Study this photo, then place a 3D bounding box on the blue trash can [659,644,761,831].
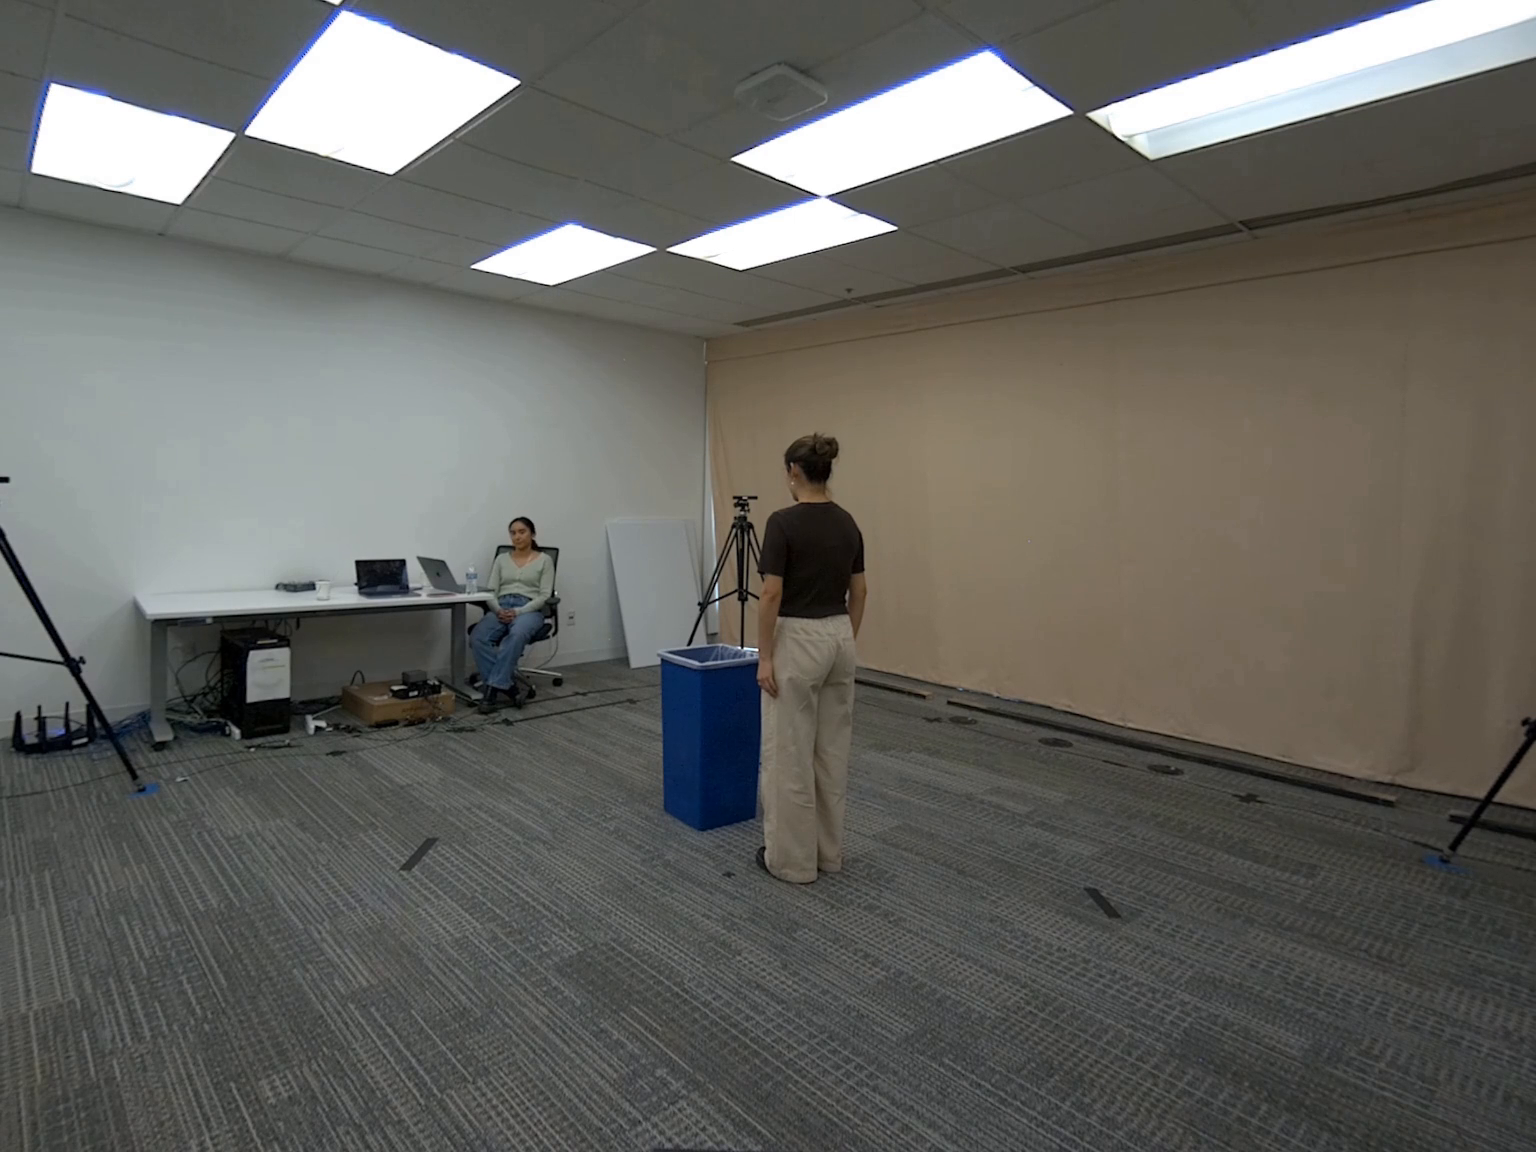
[{"bbox_3d":[-0.266,0.691,3.693,0.370,0.712,0.383,-2,5,-38],"label":"blue trash can"}]
